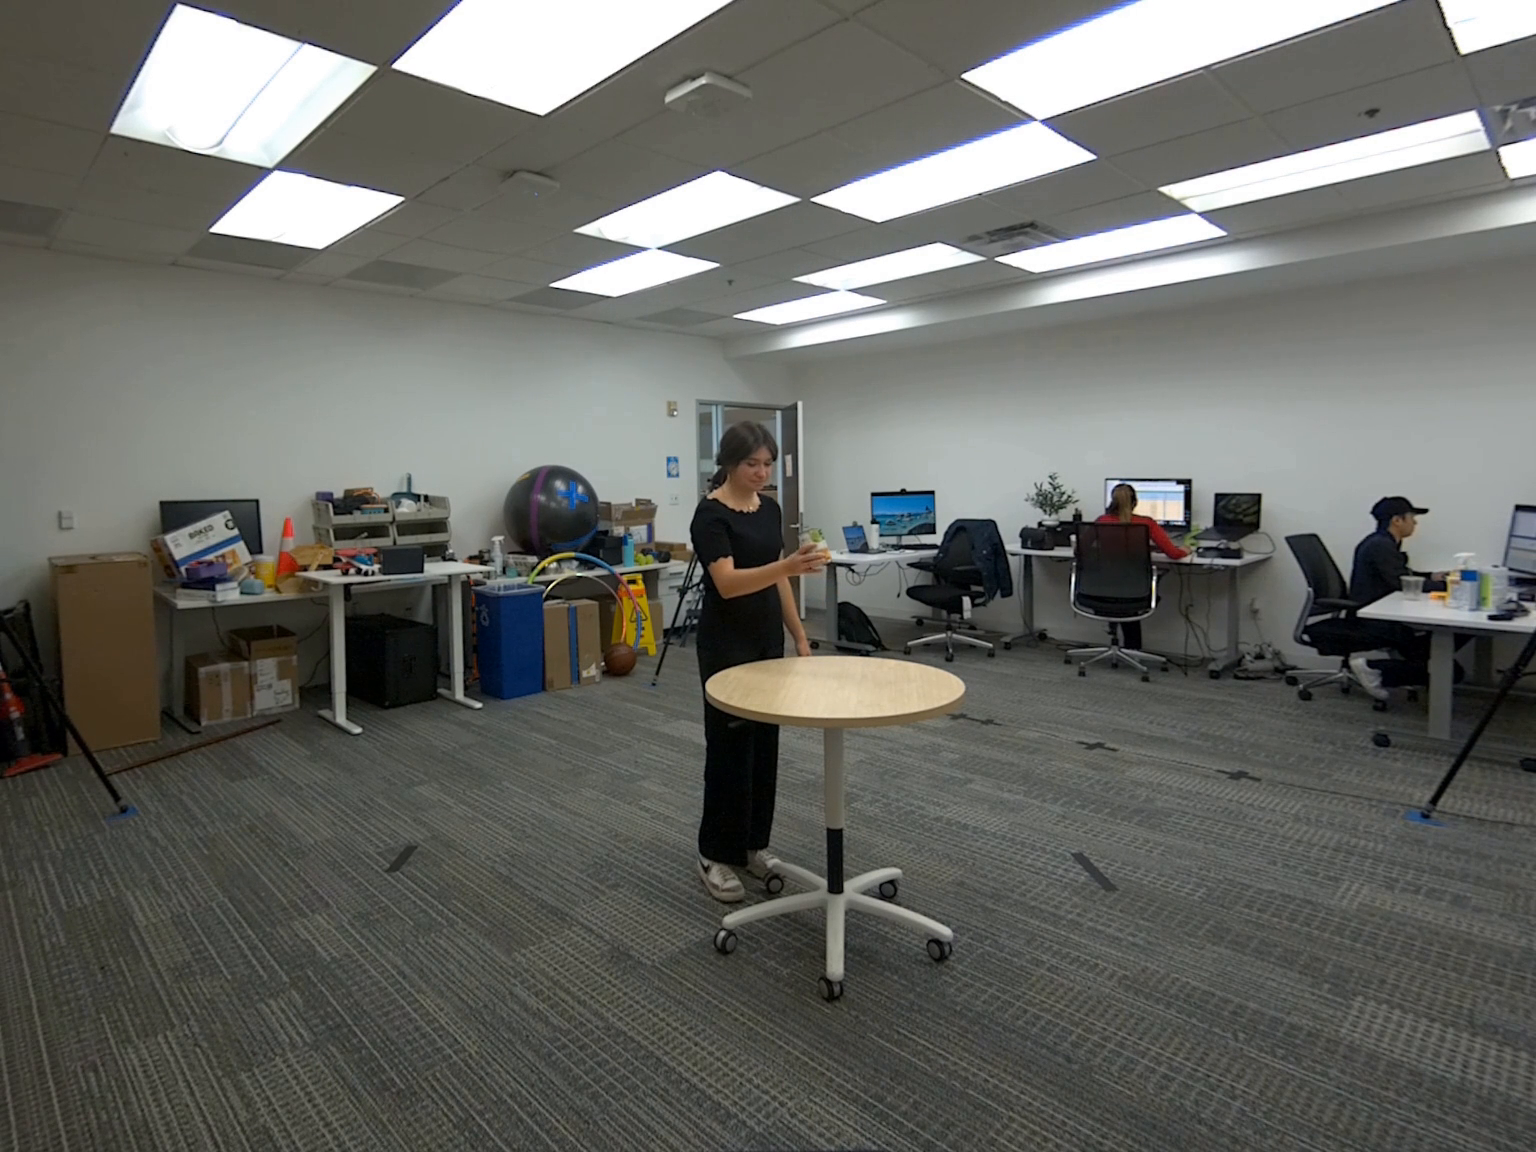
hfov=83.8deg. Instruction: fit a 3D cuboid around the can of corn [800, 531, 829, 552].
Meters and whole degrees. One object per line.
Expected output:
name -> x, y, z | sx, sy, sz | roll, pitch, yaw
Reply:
can of corn -> 0.144, -0.048, 2.578 | 0.074, 0.110, 0.074 | 5, 5, -2
